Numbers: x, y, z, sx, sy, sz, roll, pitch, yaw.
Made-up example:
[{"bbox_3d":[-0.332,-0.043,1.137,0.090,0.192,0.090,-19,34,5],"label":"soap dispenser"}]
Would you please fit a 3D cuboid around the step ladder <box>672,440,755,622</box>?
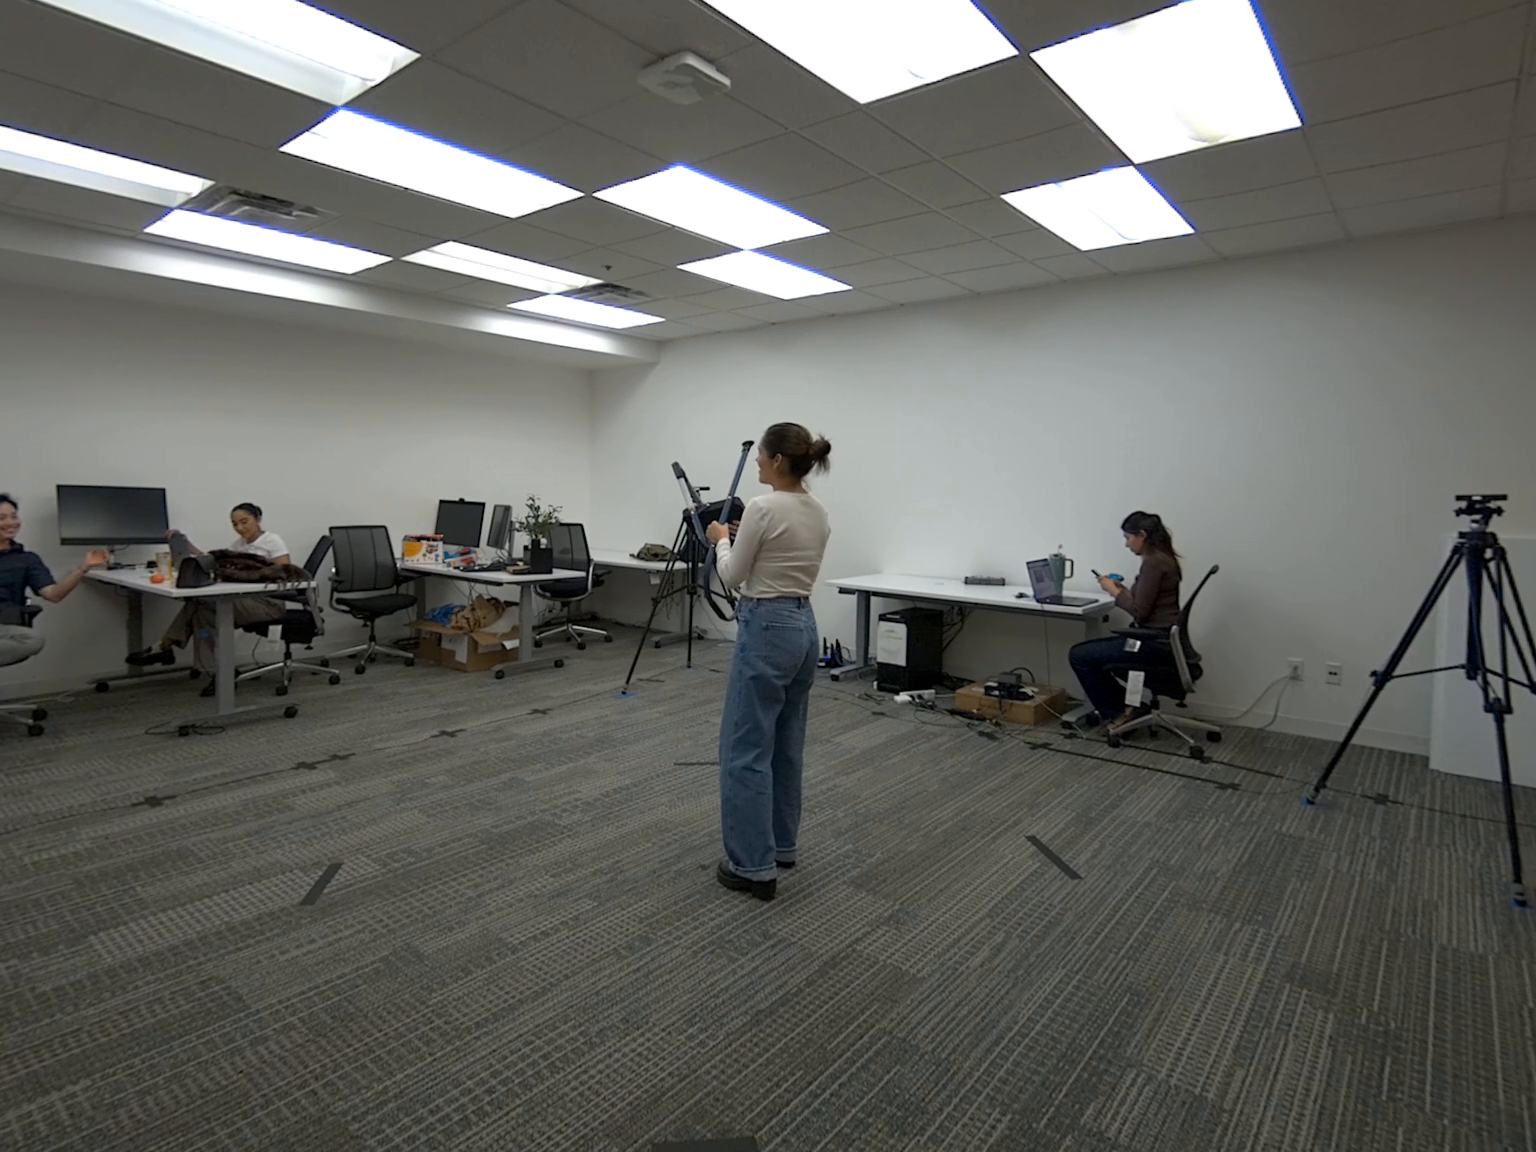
[{"bbox_3d":[-0.158,-0.146,3.408,0.353,0.623,0.413,-14,-33,14],"label":"step ladder"}]
